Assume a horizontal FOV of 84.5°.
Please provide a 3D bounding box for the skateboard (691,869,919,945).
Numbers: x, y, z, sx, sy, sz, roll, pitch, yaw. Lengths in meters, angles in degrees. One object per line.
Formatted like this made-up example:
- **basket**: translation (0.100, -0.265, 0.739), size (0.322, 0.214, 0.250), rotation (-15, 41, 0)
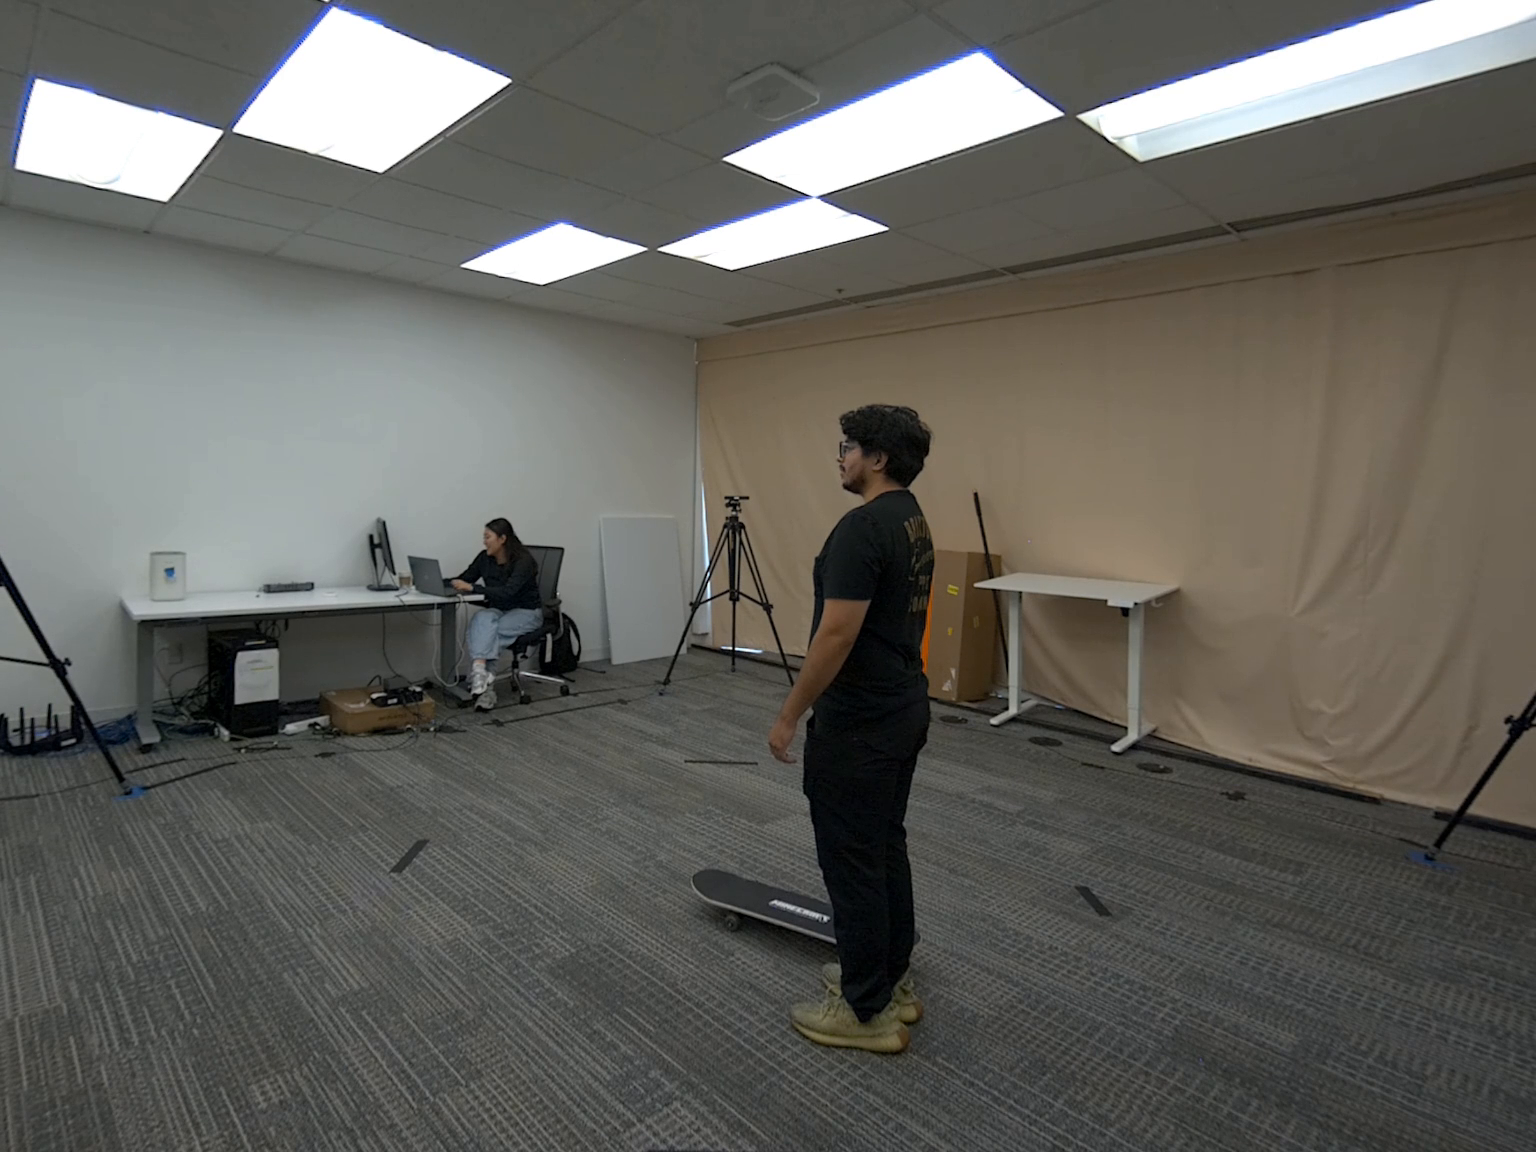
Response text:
- **skateboard**: translation (0.086, 1.094, 2.669), size (0.803, 0.110, 0.190), rotation (5, 7, 31)
